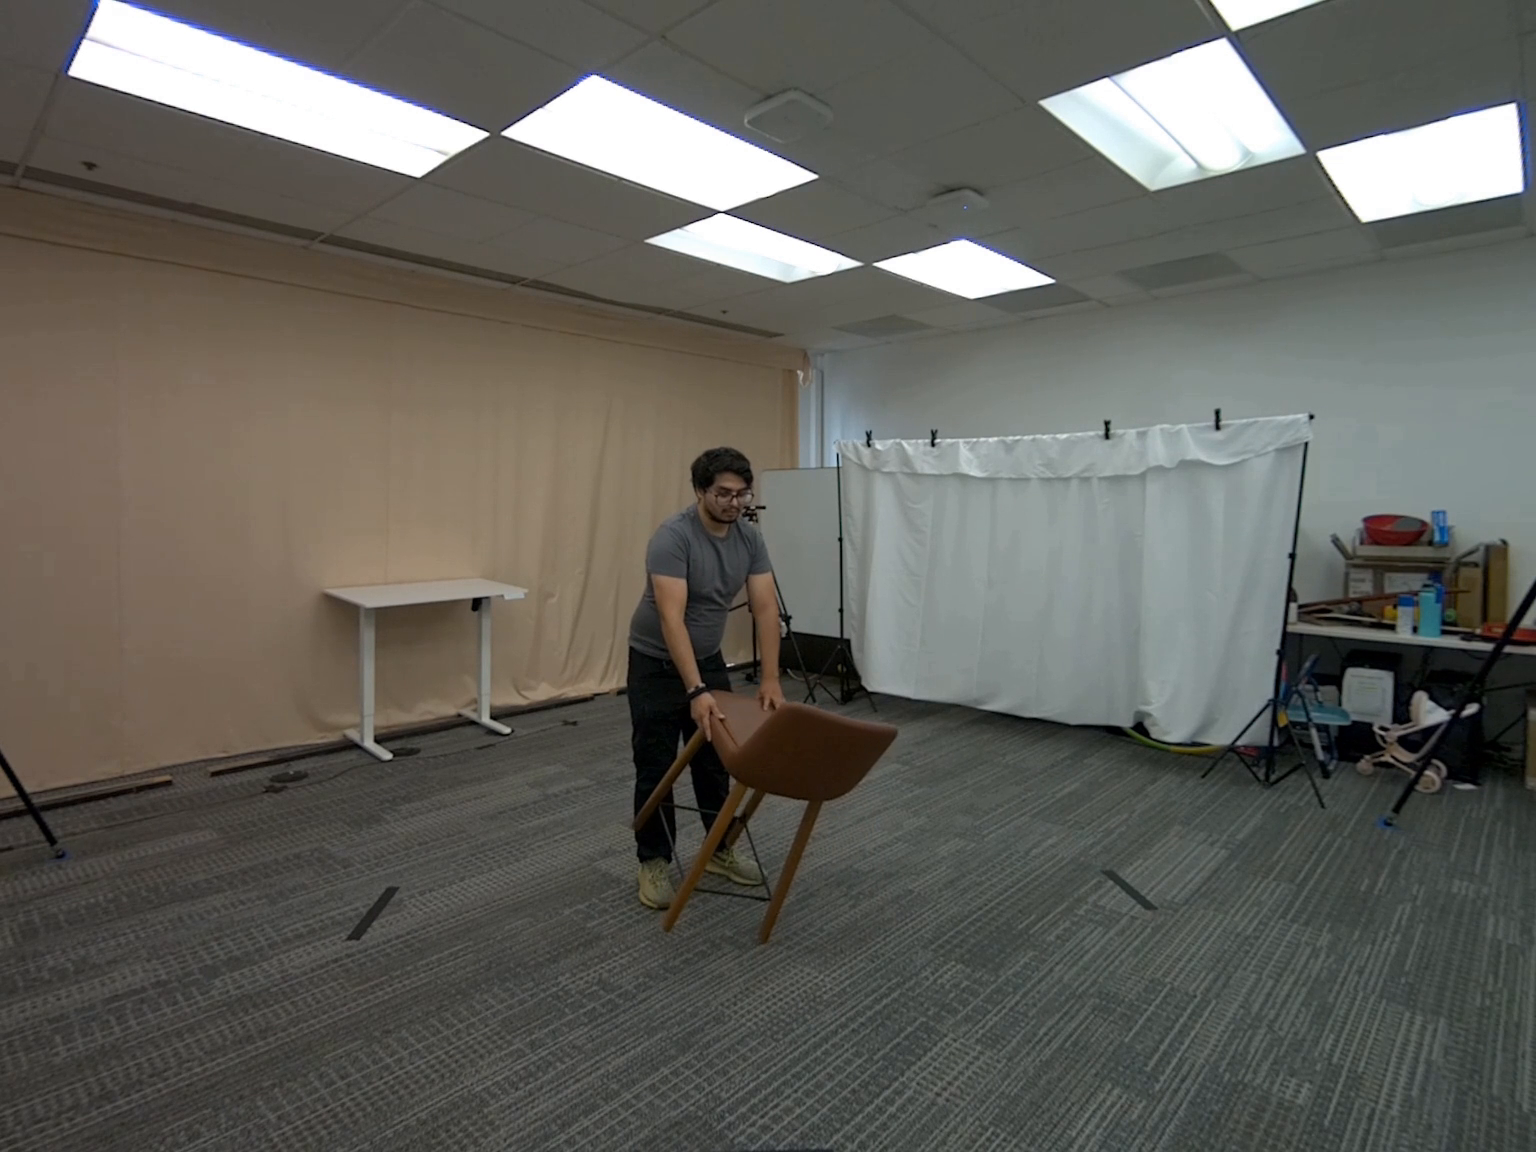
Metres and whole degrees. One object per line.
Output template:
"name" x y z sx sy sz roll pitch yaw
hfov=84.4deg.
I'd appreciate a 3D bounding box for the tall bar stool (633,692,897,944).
"tall bar stool" -0.029 0.658 2.656 0.444 0.889 0.481 18 21 -27
